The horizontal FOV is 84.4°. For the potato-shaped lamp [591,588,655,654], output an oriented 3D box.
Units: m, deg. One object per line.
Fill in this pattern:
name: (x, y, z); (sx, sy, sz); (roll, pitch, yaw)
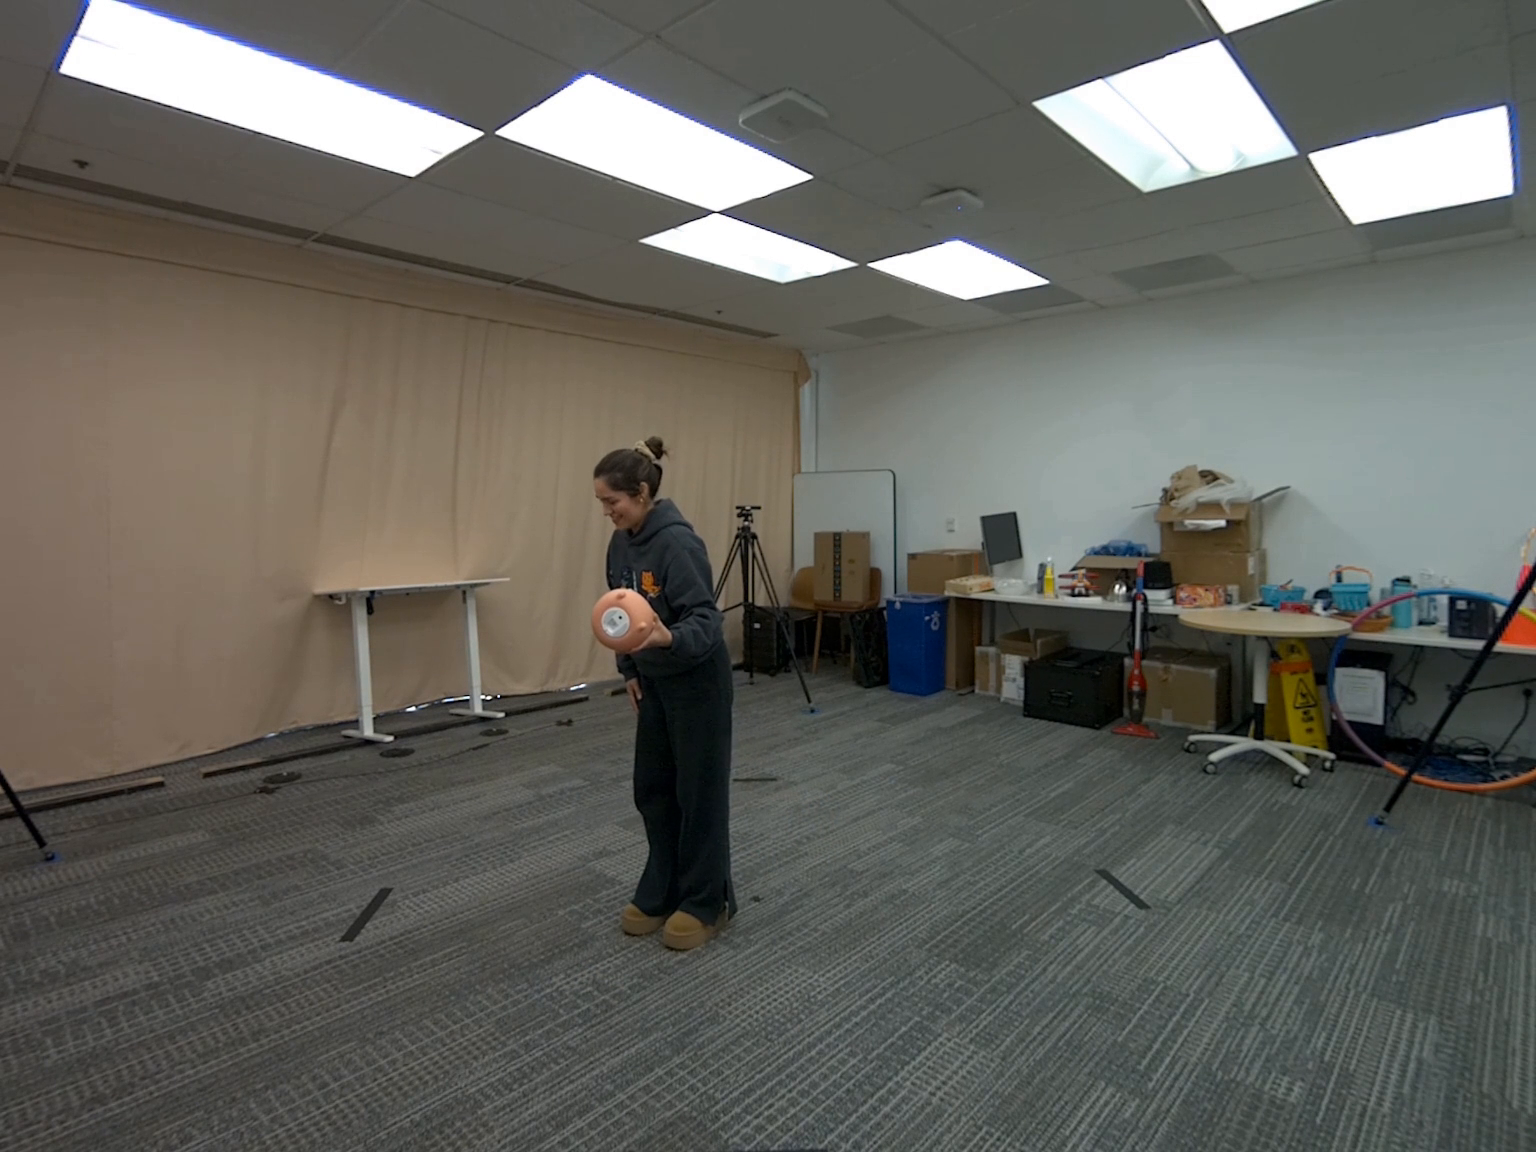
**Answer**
potato-shaped lamp: (-0.378, 0.119, 2.314); (0.172, 0.166, 0.195); (-38, -5, 14)
